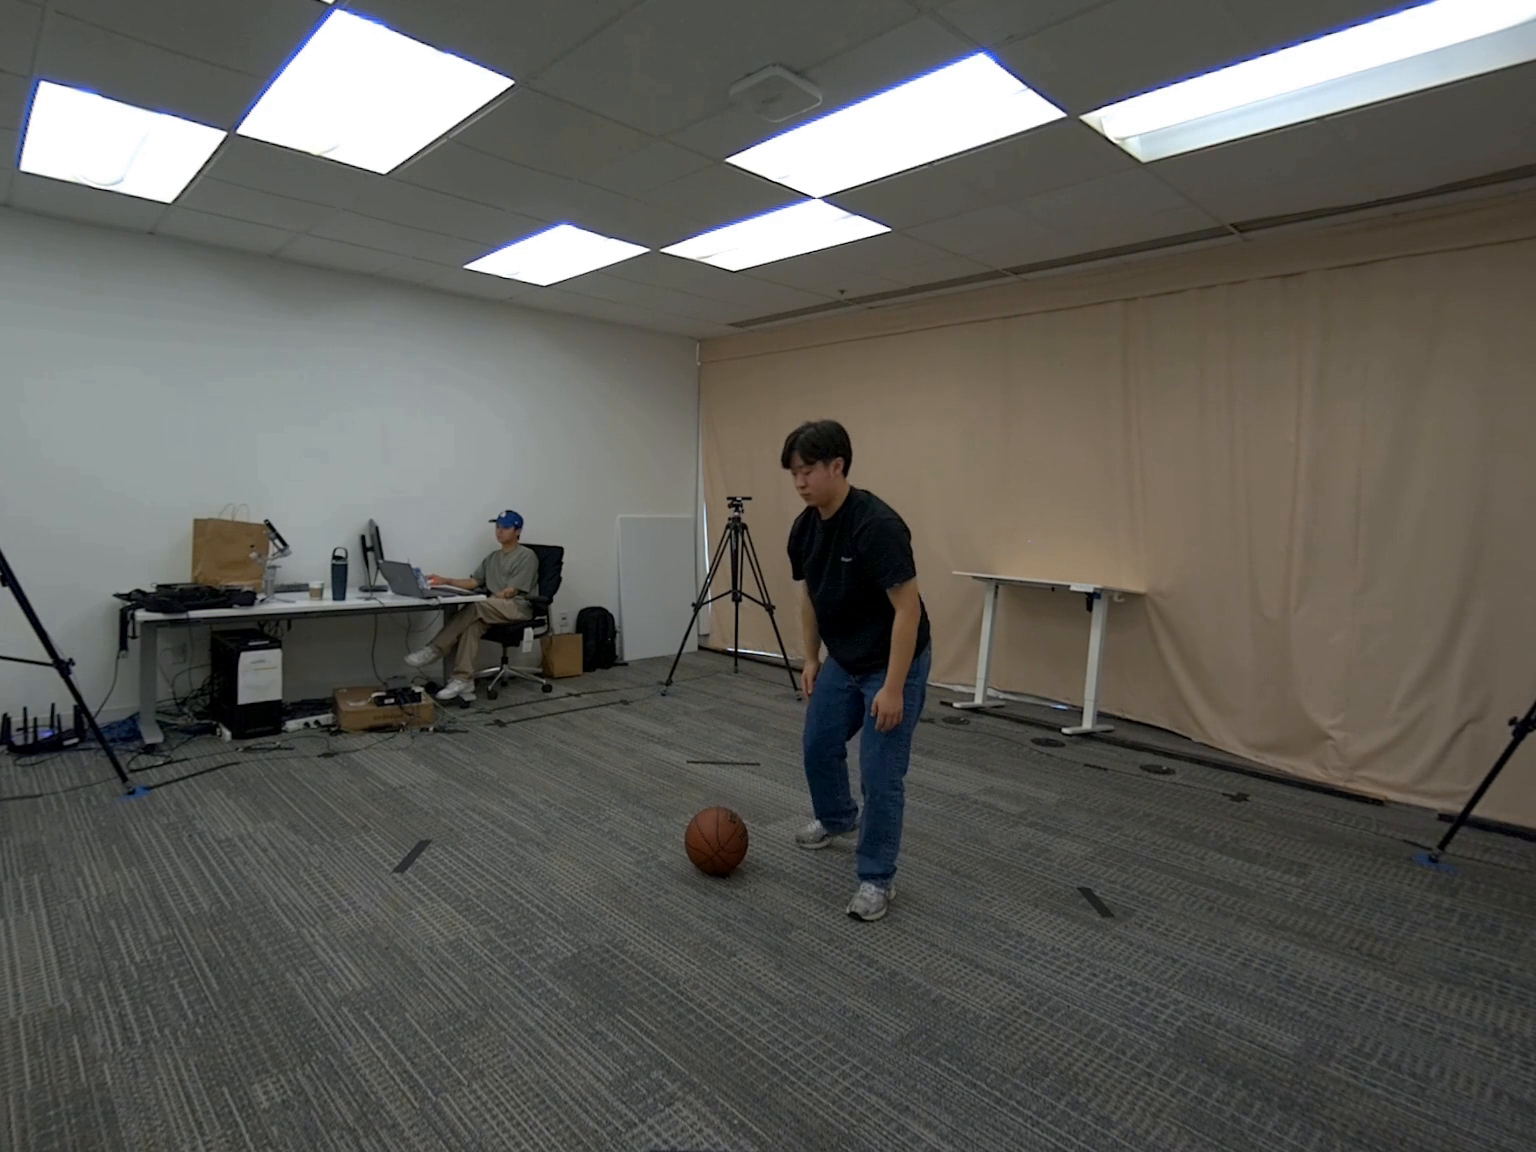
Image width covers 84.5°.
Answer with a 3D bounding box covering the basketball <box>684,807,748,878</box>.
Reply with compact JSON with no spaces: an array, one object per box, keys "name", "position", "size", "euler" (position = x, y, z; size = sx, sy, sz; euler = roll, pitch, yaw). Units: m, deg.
[{"name":"basketball","position":[-0.194,0.983,3.129],"size":[0.236,0.235,0.237],"euler":[1,4,-1]}]
